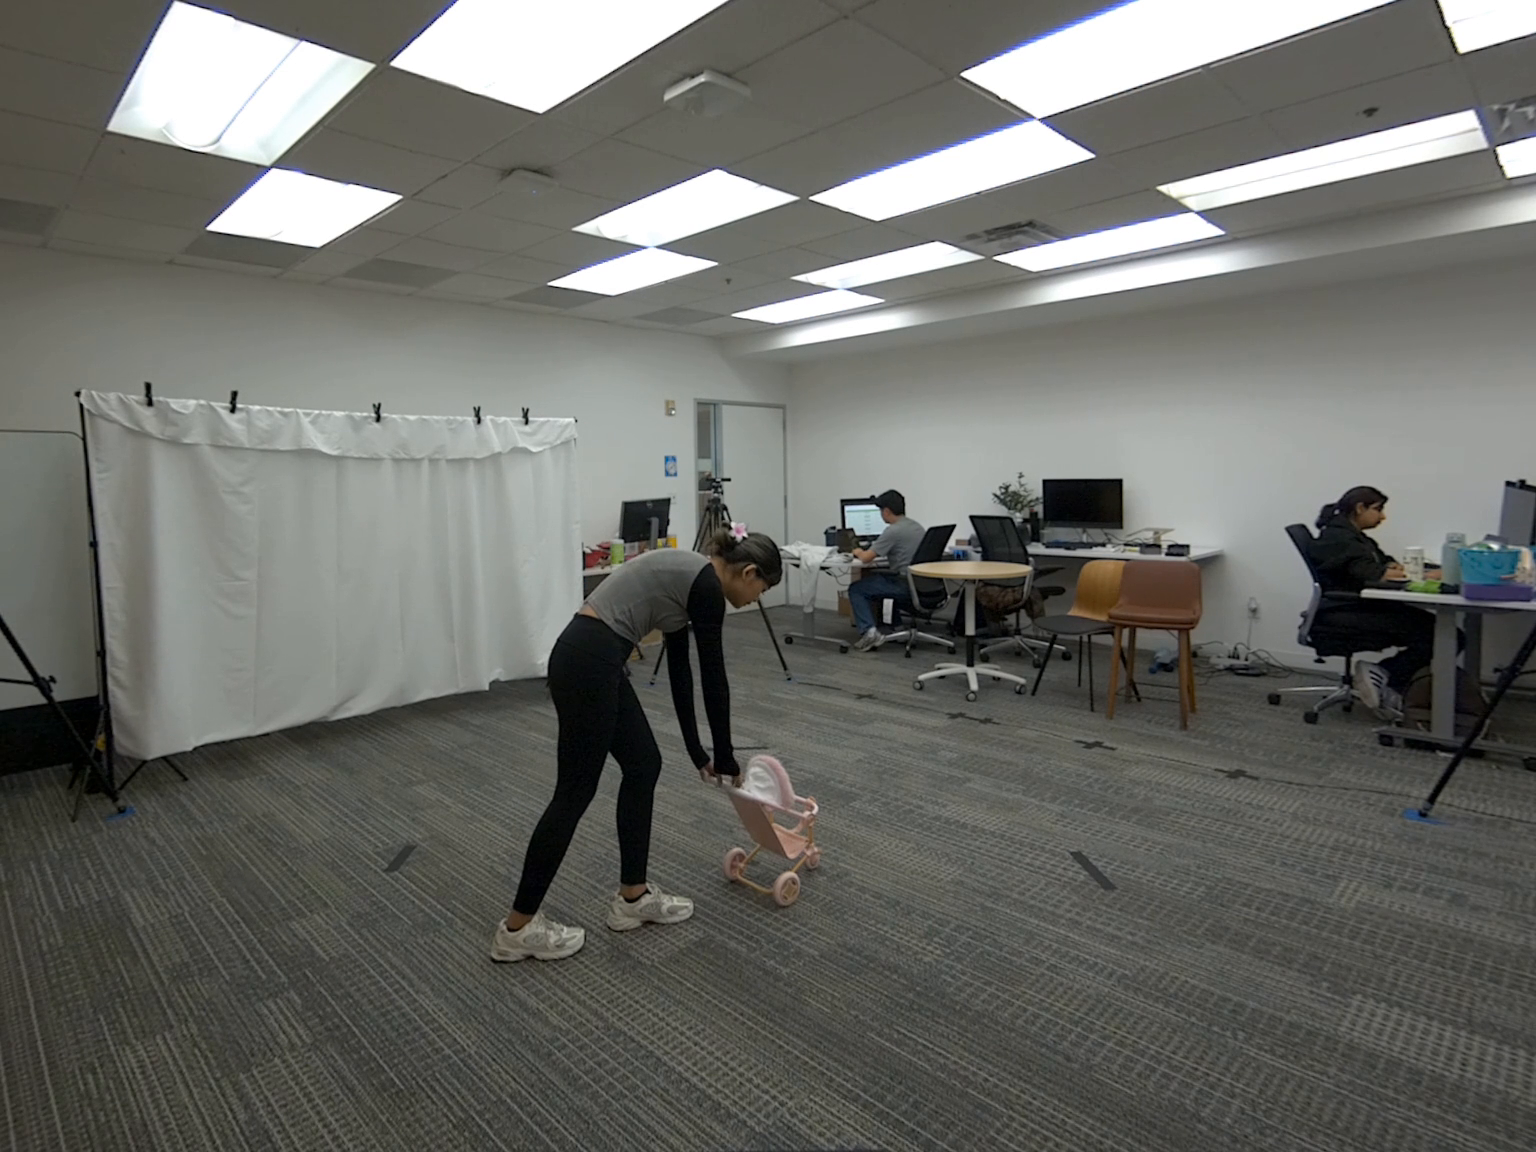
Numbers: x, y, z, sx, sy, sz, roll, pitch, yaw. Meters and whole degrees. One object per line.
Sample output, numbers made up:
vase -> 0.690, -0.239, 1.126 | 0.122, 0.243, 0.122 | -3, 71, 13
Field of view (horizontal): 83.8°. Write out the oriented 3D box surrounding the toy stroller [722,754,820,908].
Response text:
toy stroller -> 0.021, 0.841, 2.911 | 0.336, 0.526, 0.290 | -25, 18, -35
